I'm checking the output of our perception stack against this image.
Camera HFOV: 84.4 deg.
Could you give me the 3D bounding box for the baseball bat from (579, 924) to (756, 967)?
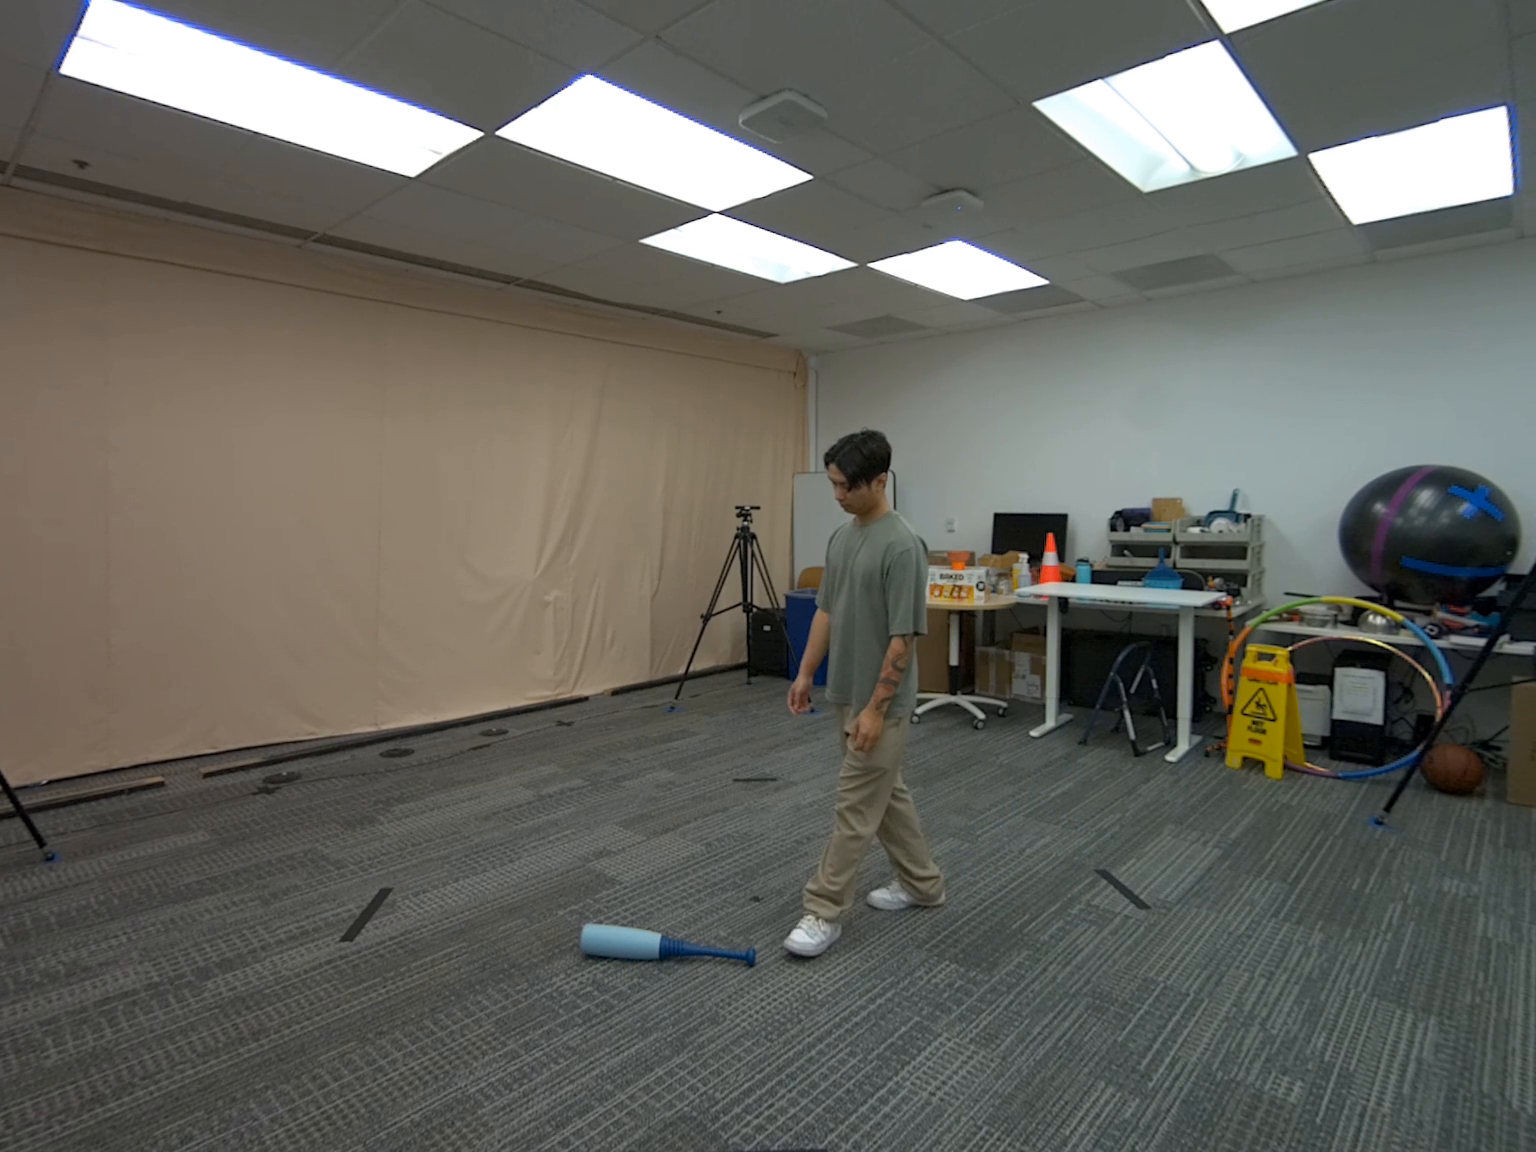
[{"bbox_3d":[-0.300,1.143,2.584,0.547,0.089,0.088,3,4,7],"label":"baseball bat"}]
